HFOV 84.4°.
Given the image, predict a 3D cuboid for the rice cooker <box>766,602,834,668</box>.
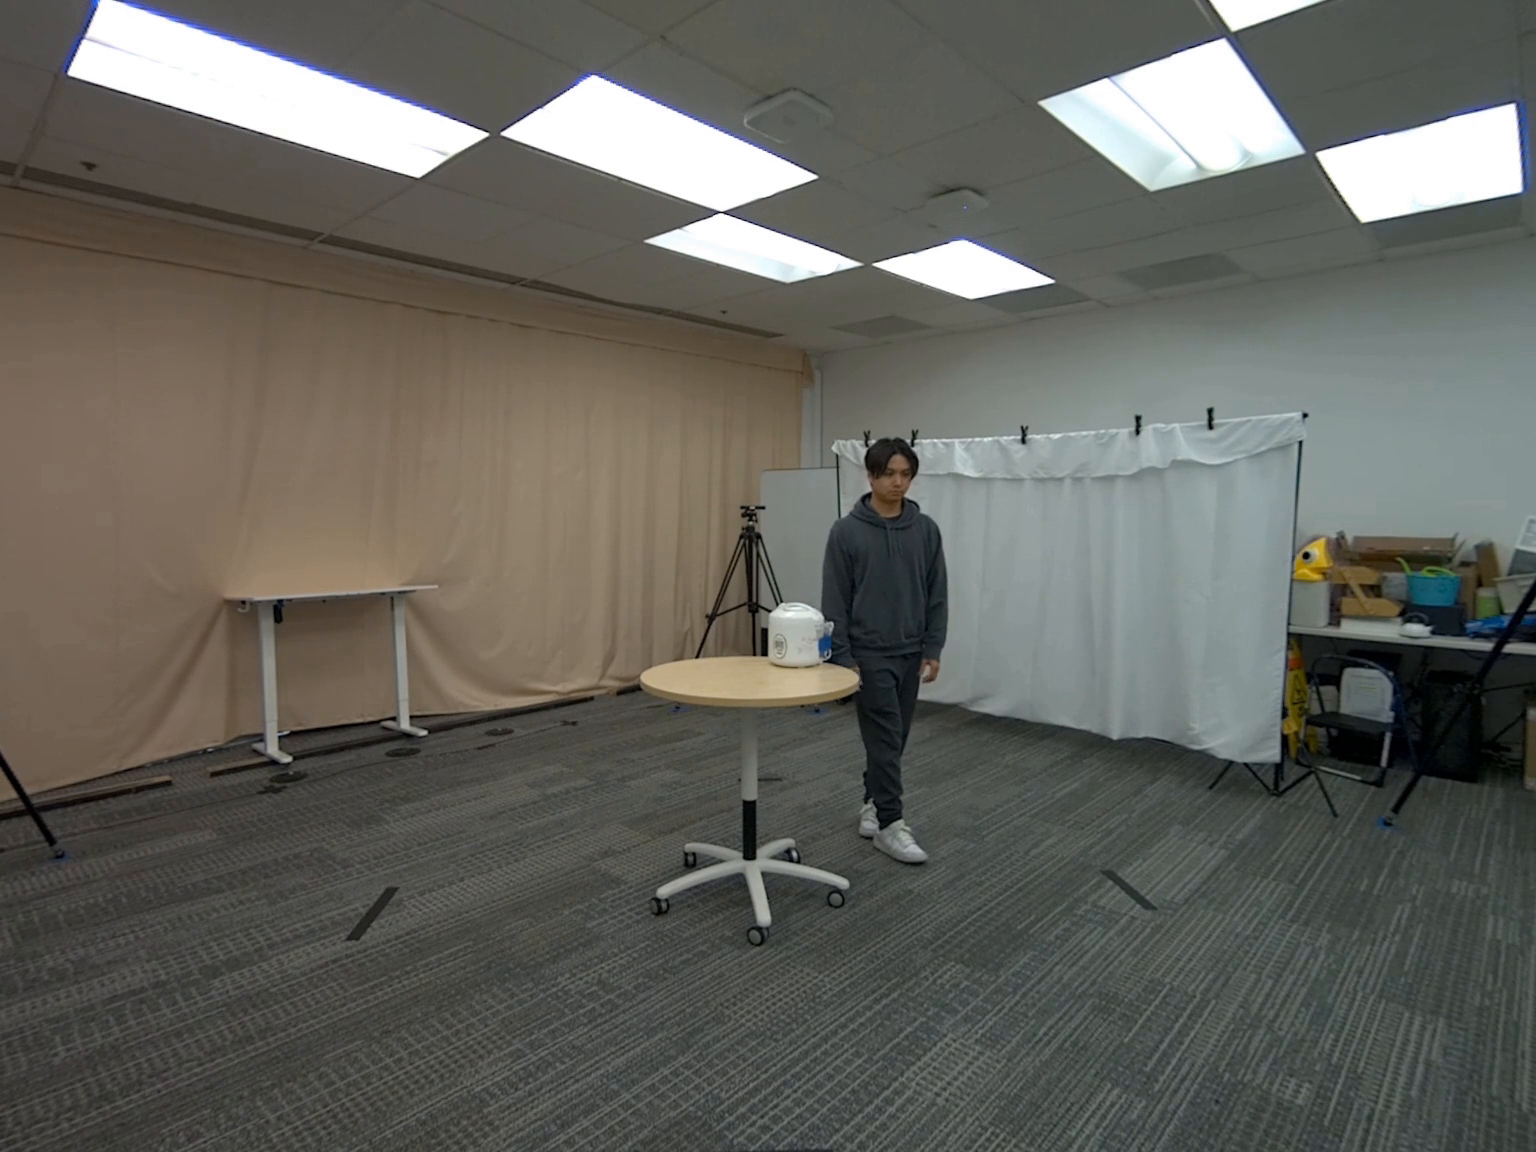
[{"bbox_3d":[0.110,0.218,3.170,0.228,0.232,0.211,2,2,38],"label":"rice cooker"}]
